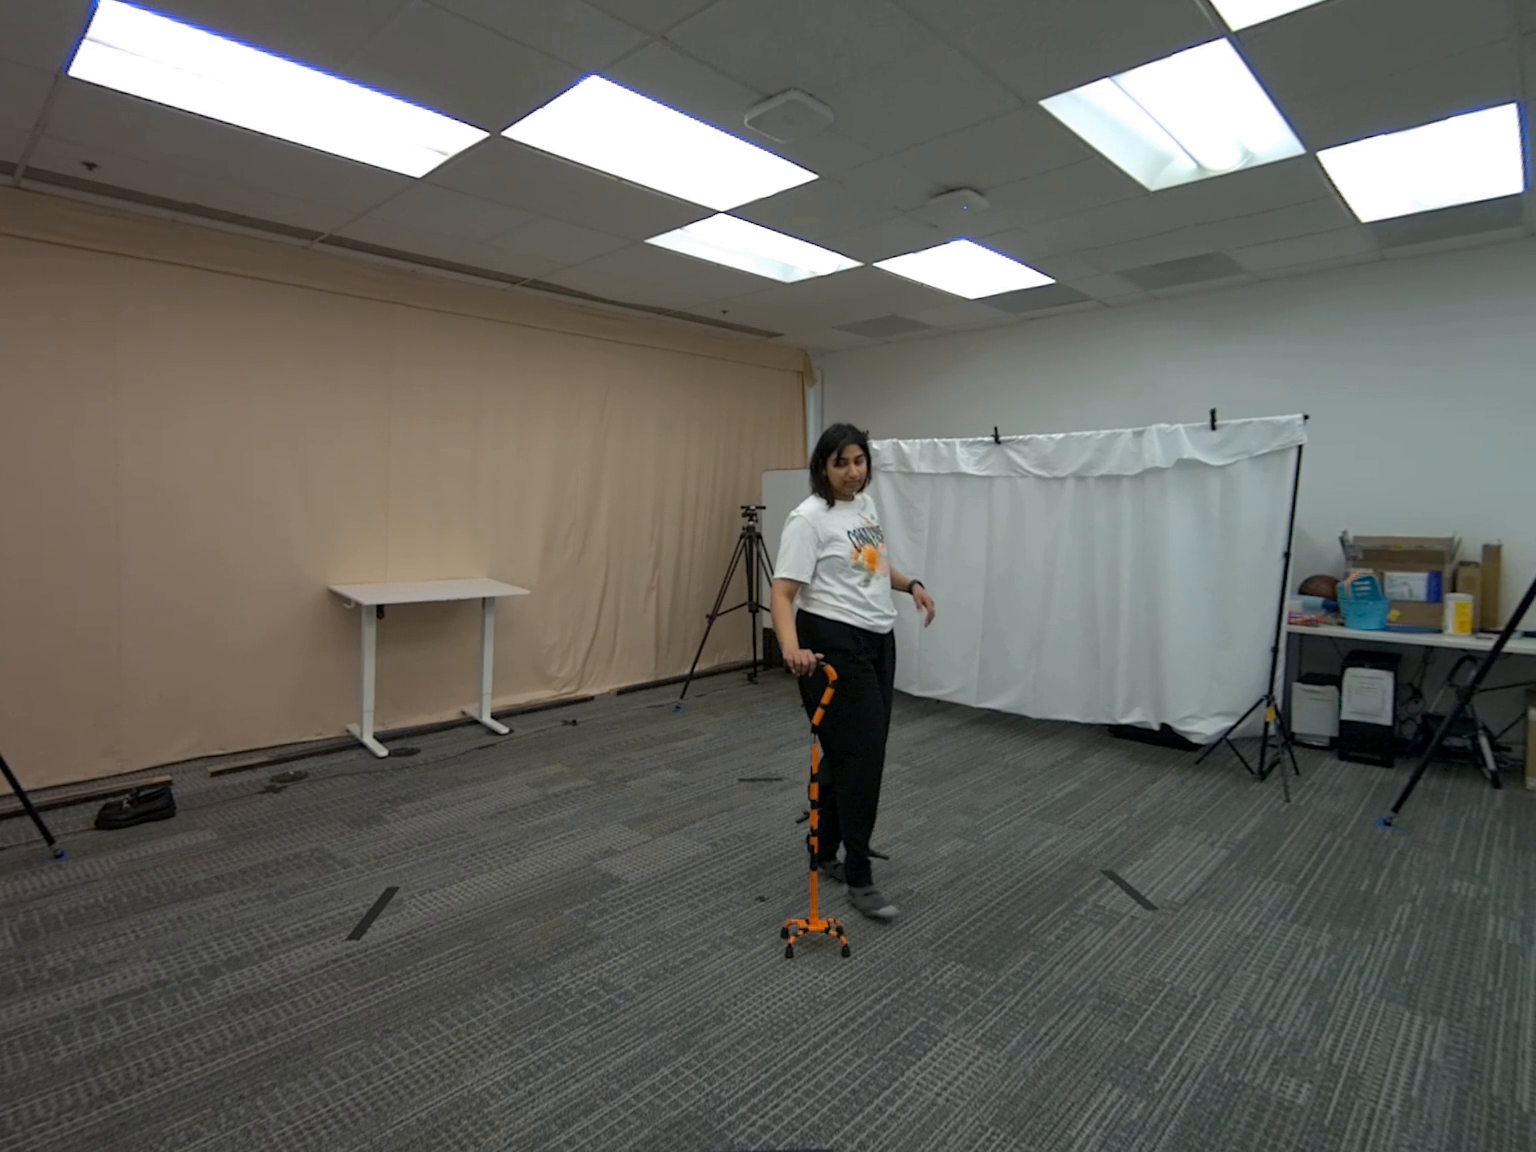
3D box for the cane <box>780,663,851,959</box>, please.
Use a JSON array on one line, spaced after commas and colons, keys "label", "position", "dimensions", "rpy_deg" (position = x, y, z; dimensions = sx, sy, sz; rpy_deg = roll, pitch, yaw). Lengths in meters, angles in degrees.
[{"label": "cane", "position": [0.150, 0.722, 2.634], "dimensions": [0.206, 0.905, 0.152], "rpy_deg": [0, 4, -2]}]
